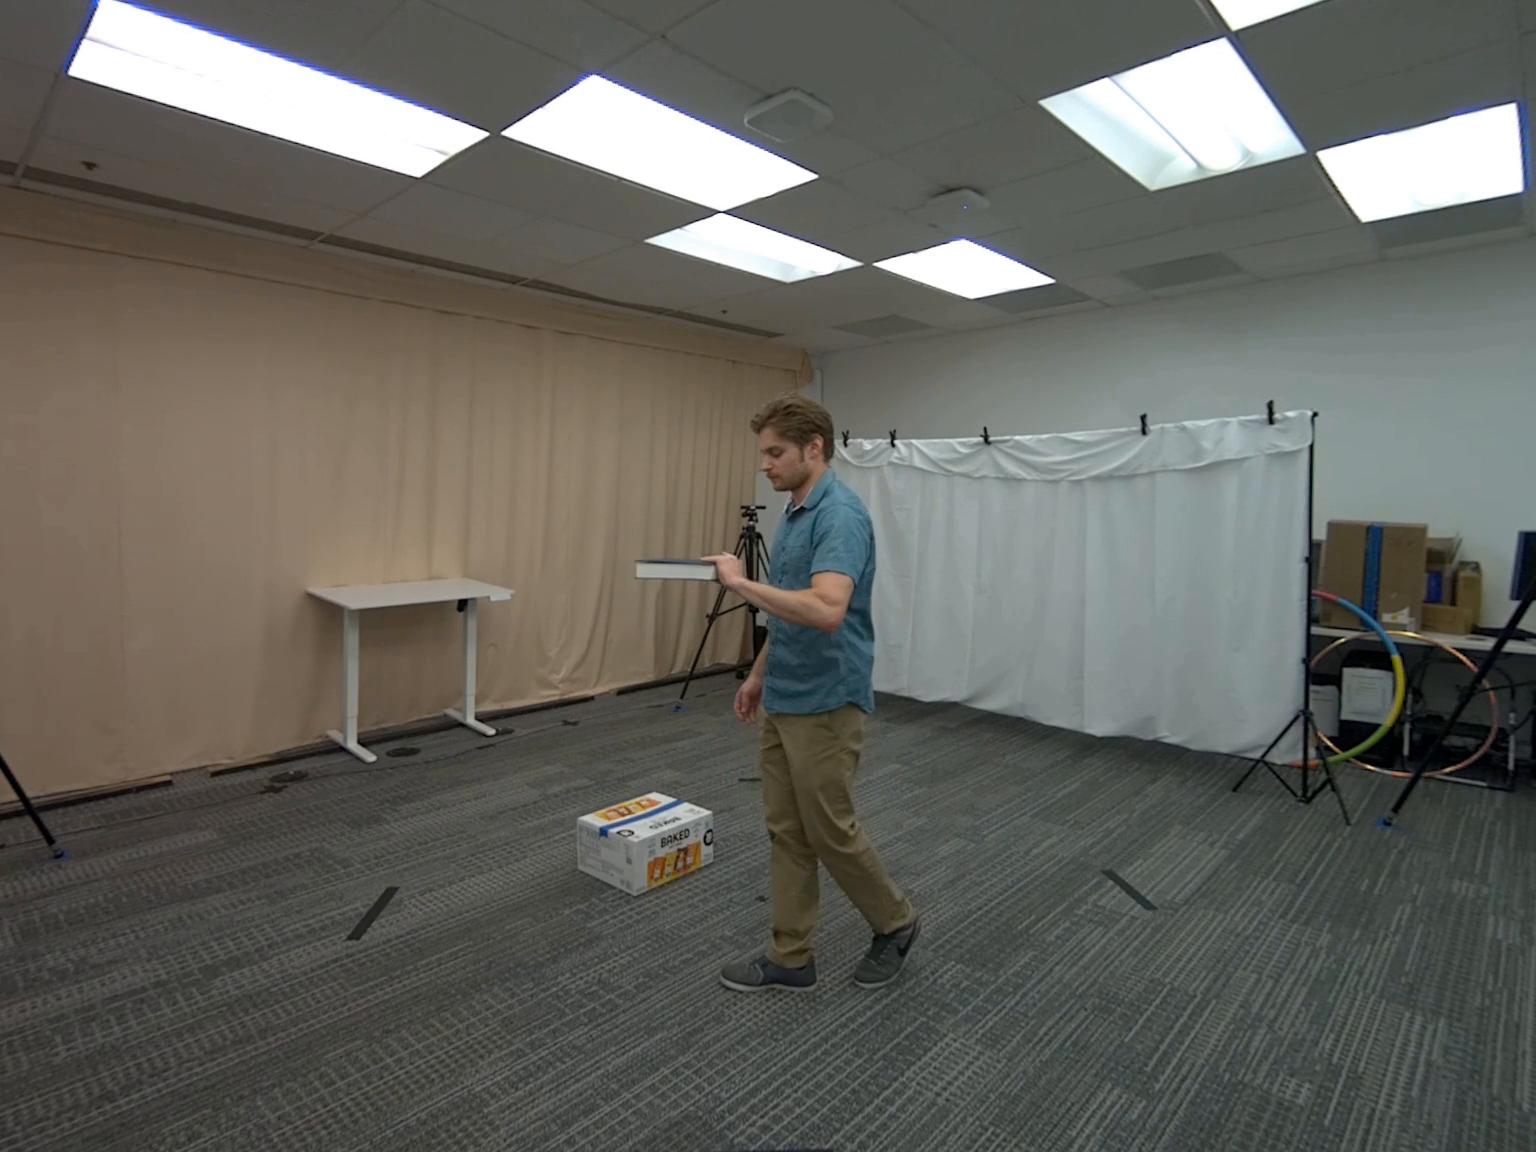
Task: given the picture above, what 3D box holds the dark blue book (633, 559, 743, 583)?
[{"bbox_3d":[-0.217,-0.018,2.293,0.252,0.045,0.159,2,5,29],"label":"dark blue book"}]
